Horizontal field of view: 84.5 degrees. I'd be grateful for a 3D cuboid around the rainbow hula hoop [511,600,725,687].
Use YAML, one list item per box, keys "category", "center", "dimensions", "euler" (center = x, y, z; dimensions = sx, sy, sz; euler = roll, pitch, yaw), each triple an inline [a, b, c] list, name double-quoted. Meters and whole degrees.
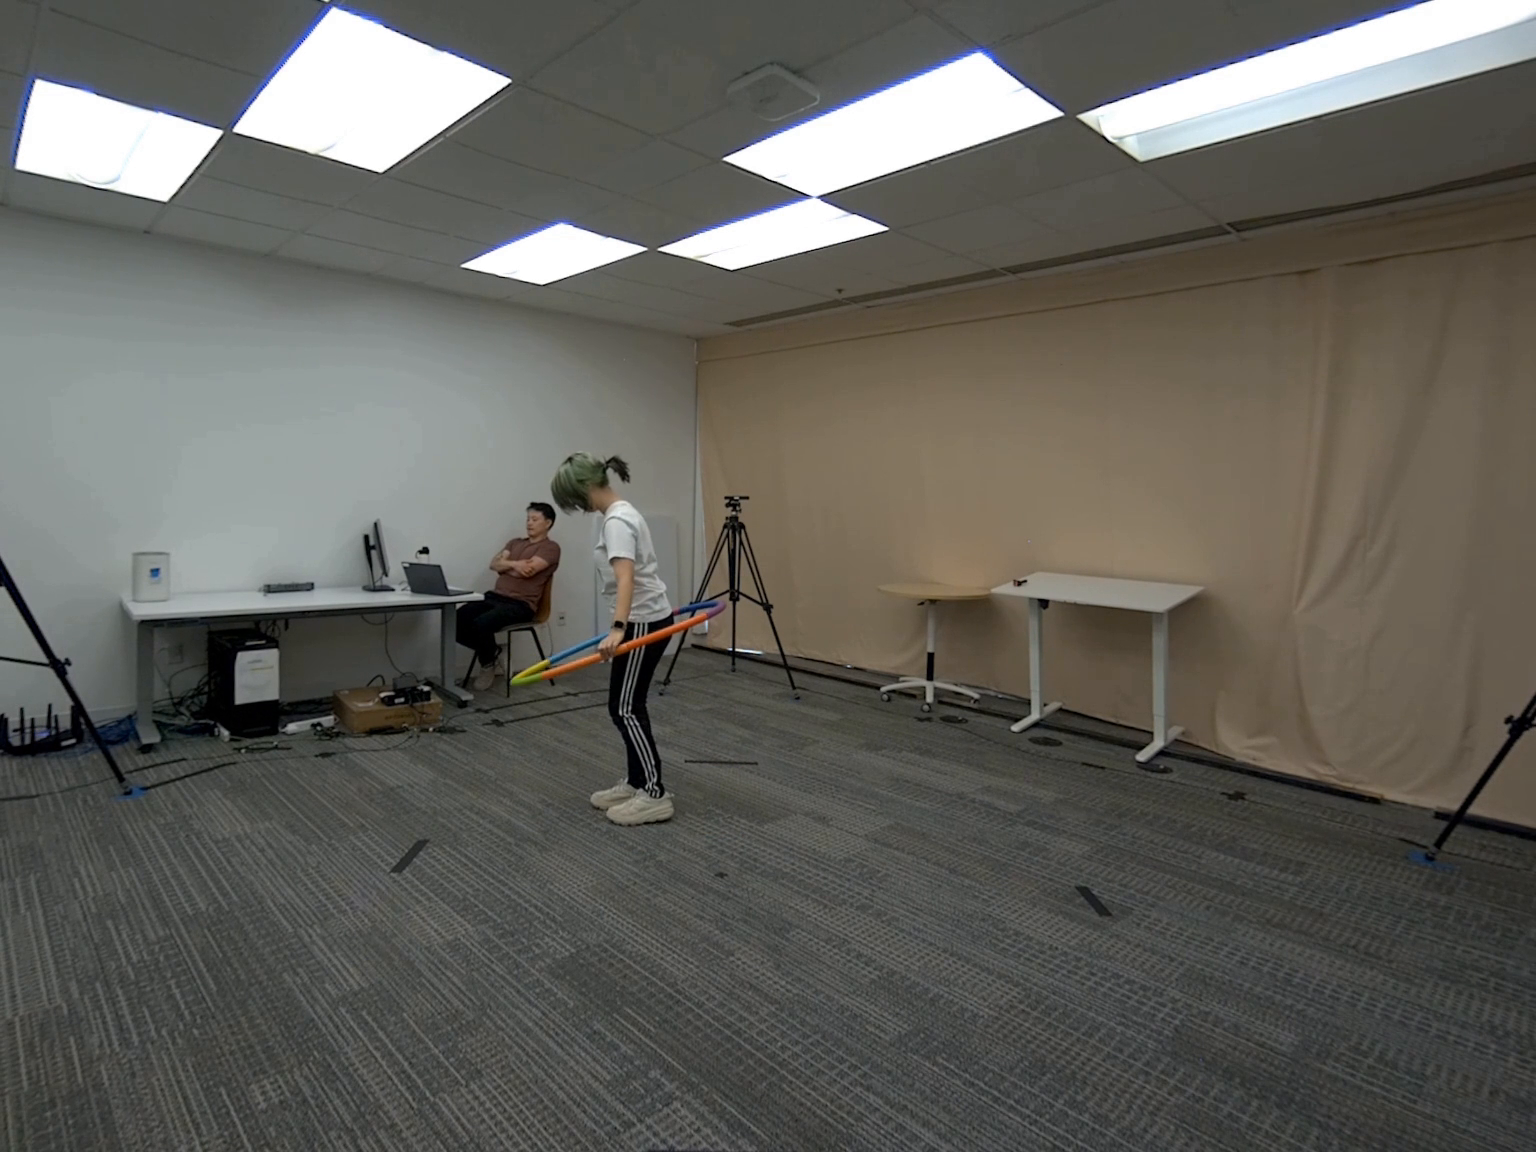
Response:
- category: "rainbow hula hoop"
  center: [-0.653, 0.282, 3.679]
  dimensions: [0.985, 0.051, 0.987]
  euler: [-21, 4, -1]
